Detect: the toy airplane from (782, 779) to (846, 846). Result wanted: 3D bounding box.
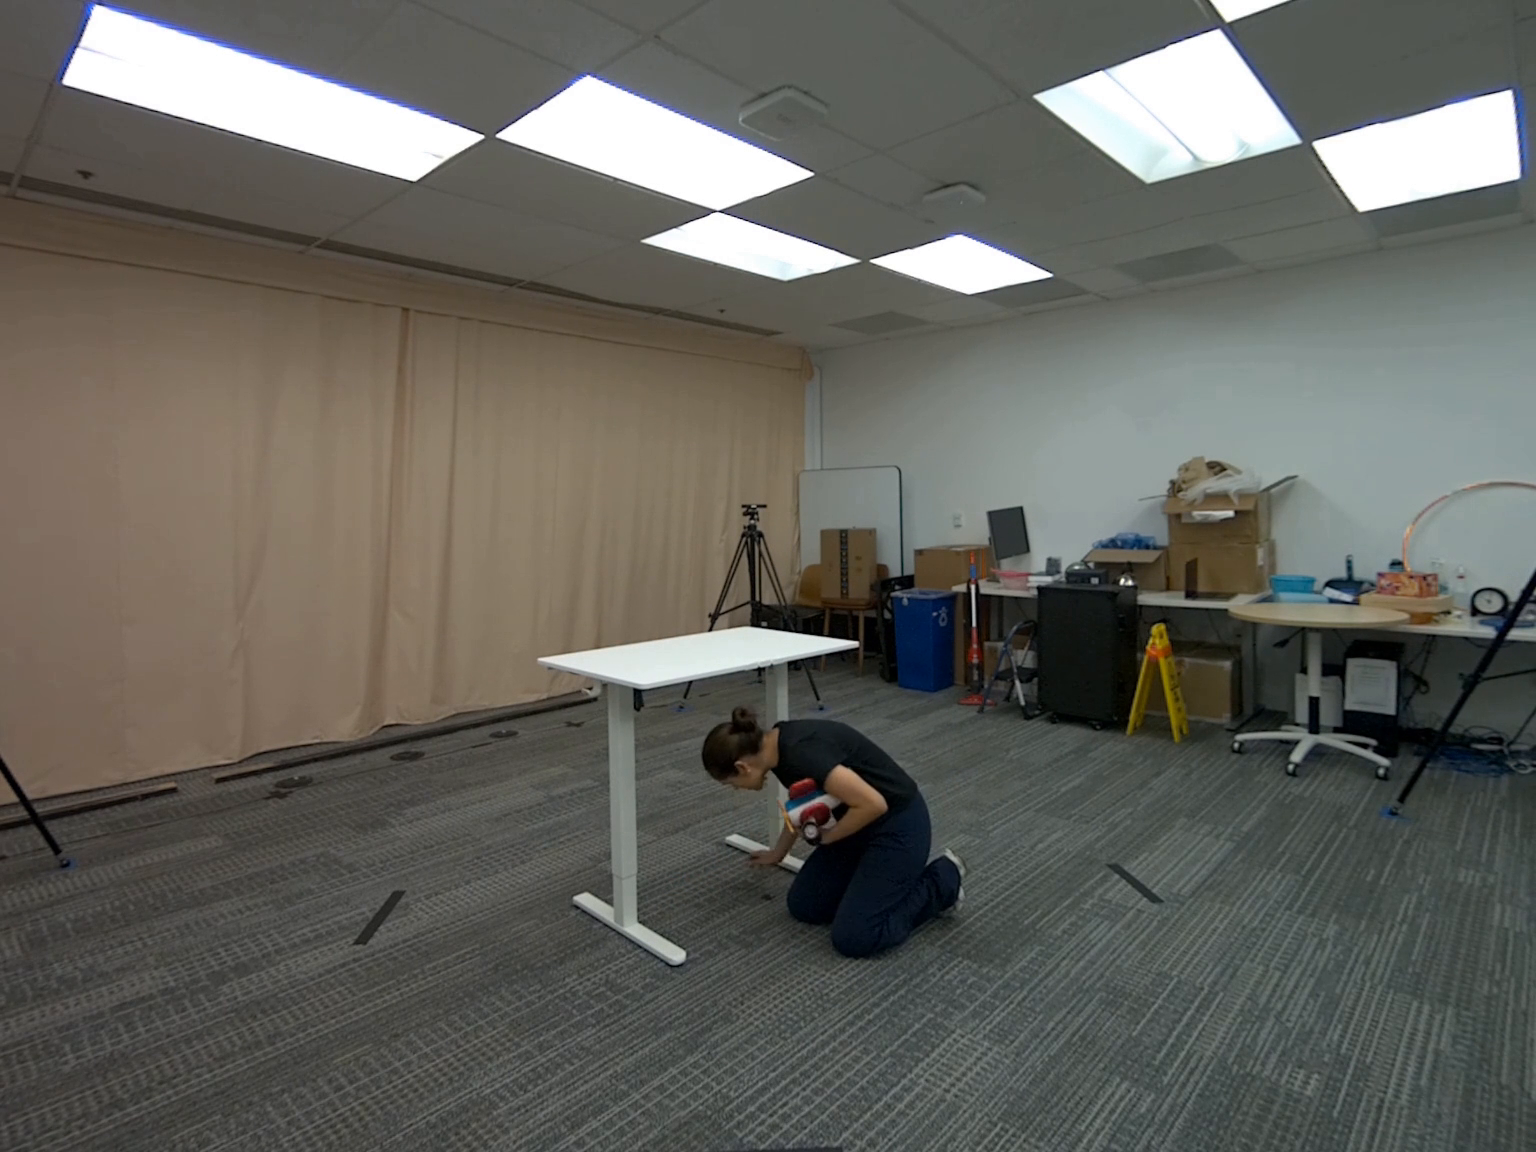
[{"bbox_3d":[0.173,0.708,2.607,0.253,0.250,0.161,-18,56,-37],"label":"toy airplane"}]
